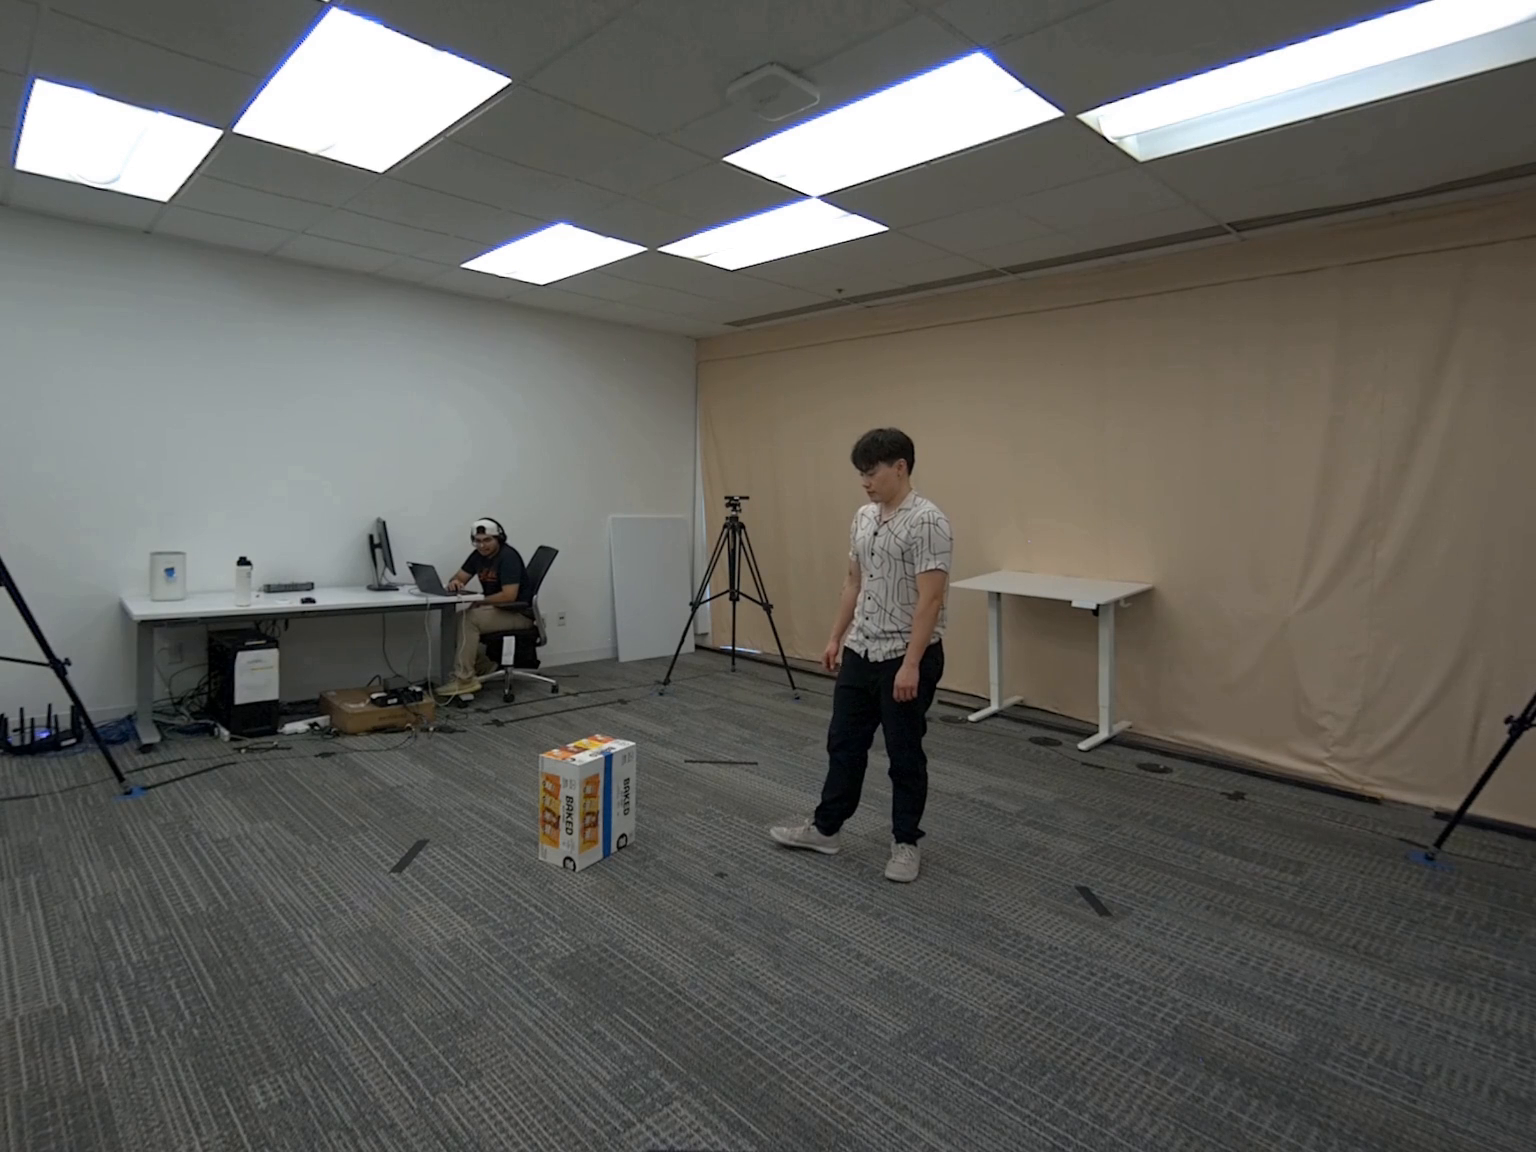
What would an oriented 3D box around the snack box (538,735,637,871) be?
[{"bbox_3d":[-0.708,0.872,3.277,0.210,0.404,0.334,3,4,29],"label":"snack box"}]
